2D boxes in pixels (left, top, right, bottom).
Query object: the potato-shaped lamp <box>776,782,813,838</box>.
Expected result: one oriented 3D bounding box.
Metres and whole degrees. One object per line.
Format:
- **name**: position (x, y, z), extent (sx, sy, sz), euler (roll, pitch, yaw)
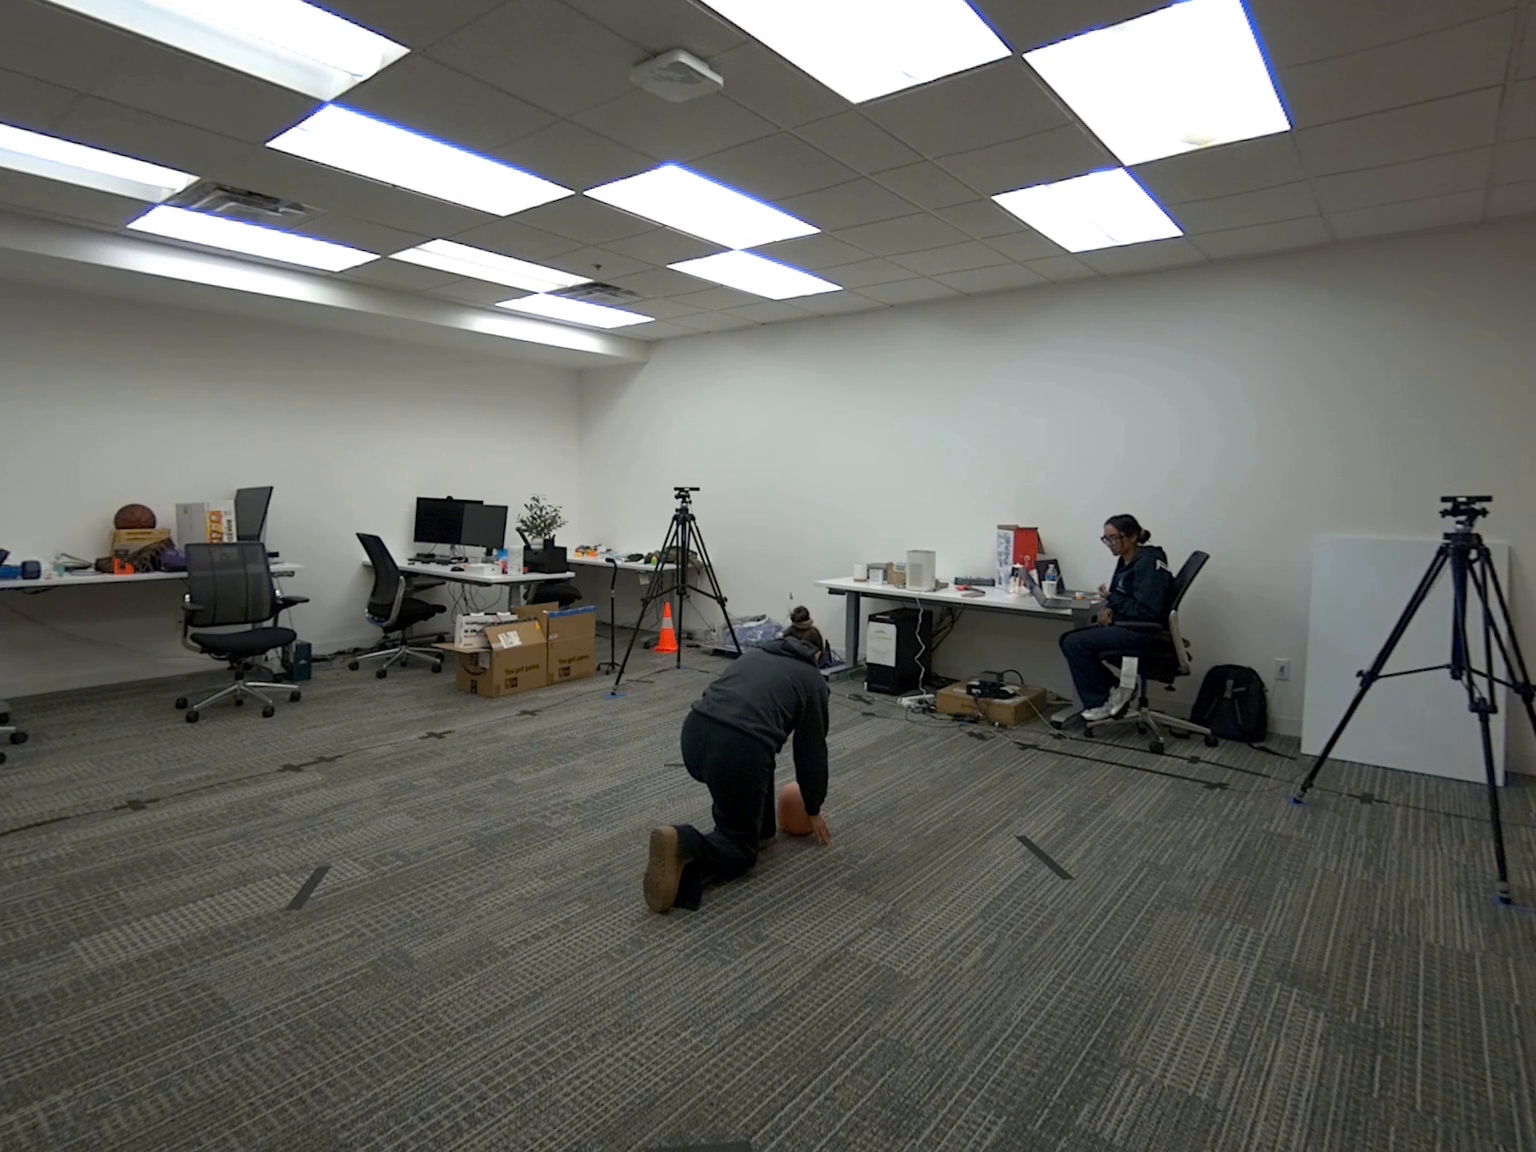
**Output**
- **potato-shaped lamp**: position (0.120, 0.935, 3.468), extent (0.169, 0.197, 0.167), euler (0, 6, 31)
